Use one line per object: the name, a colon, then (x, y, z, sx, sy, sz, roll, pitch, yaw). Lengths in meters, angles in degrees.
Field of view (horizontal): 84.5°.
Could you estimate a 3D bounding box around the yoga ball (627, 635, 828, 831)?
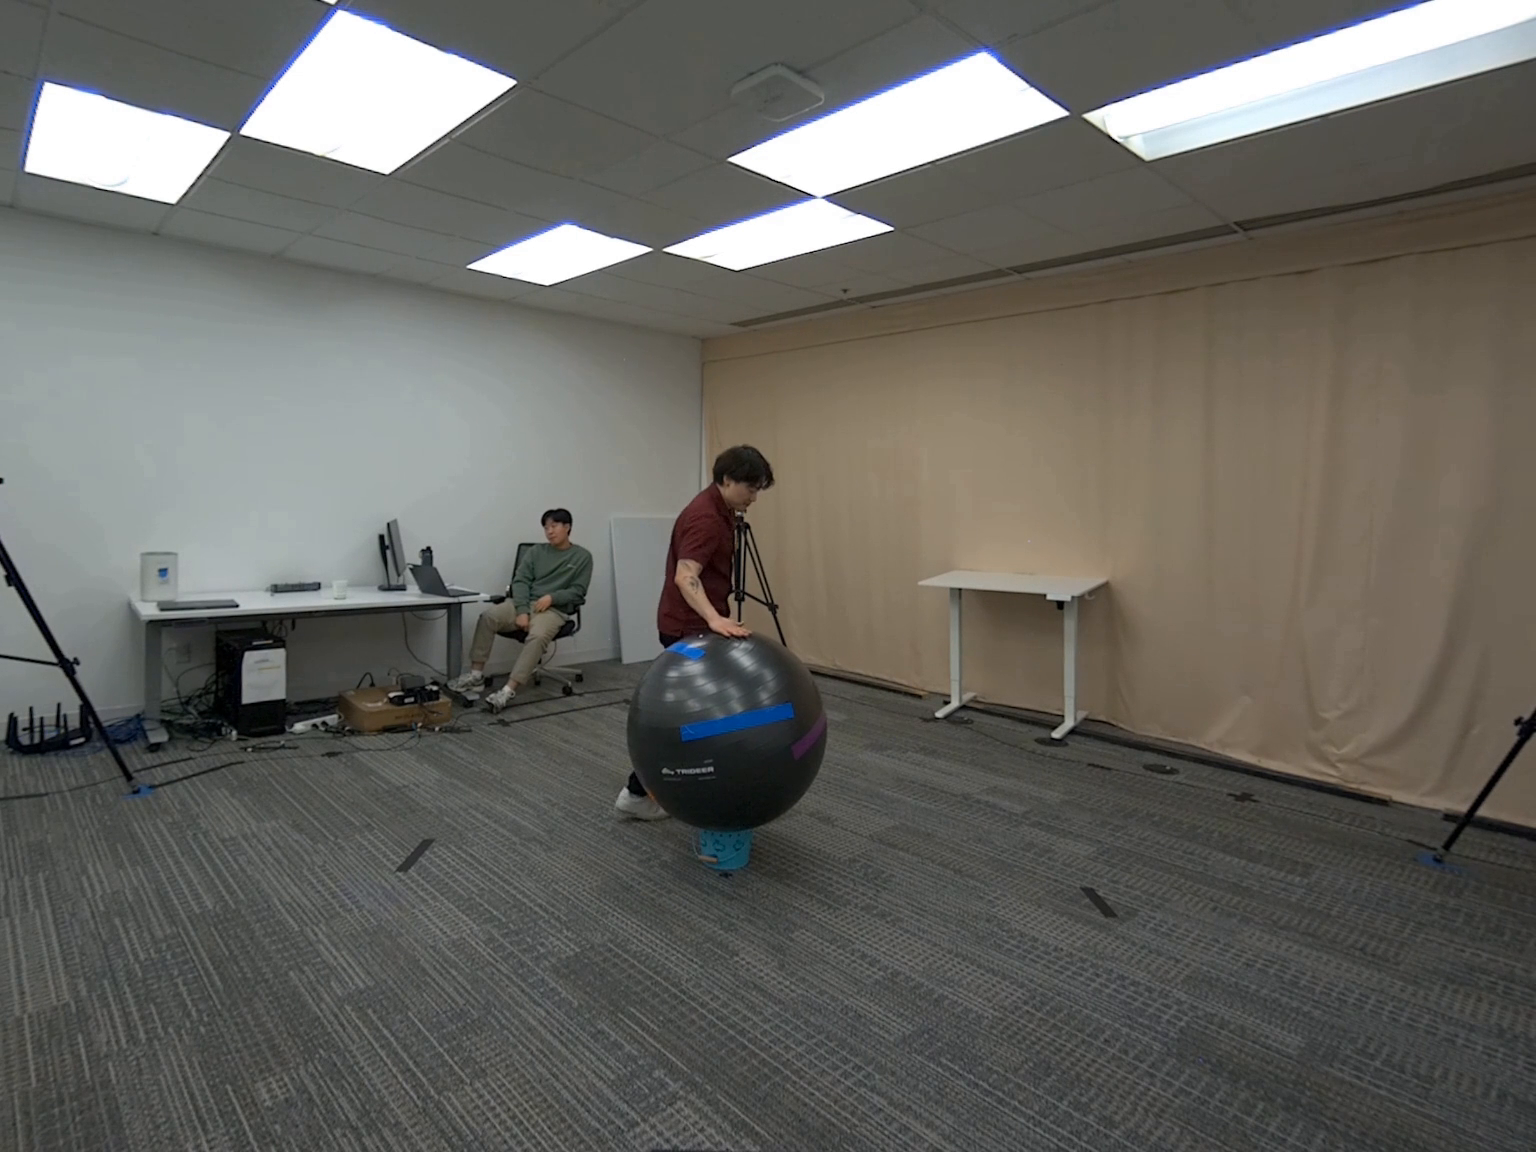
yoga ball: (-0.161, 0.584, 3.206, 0.757, 0.756, 0.761, 1, 4, -1)
